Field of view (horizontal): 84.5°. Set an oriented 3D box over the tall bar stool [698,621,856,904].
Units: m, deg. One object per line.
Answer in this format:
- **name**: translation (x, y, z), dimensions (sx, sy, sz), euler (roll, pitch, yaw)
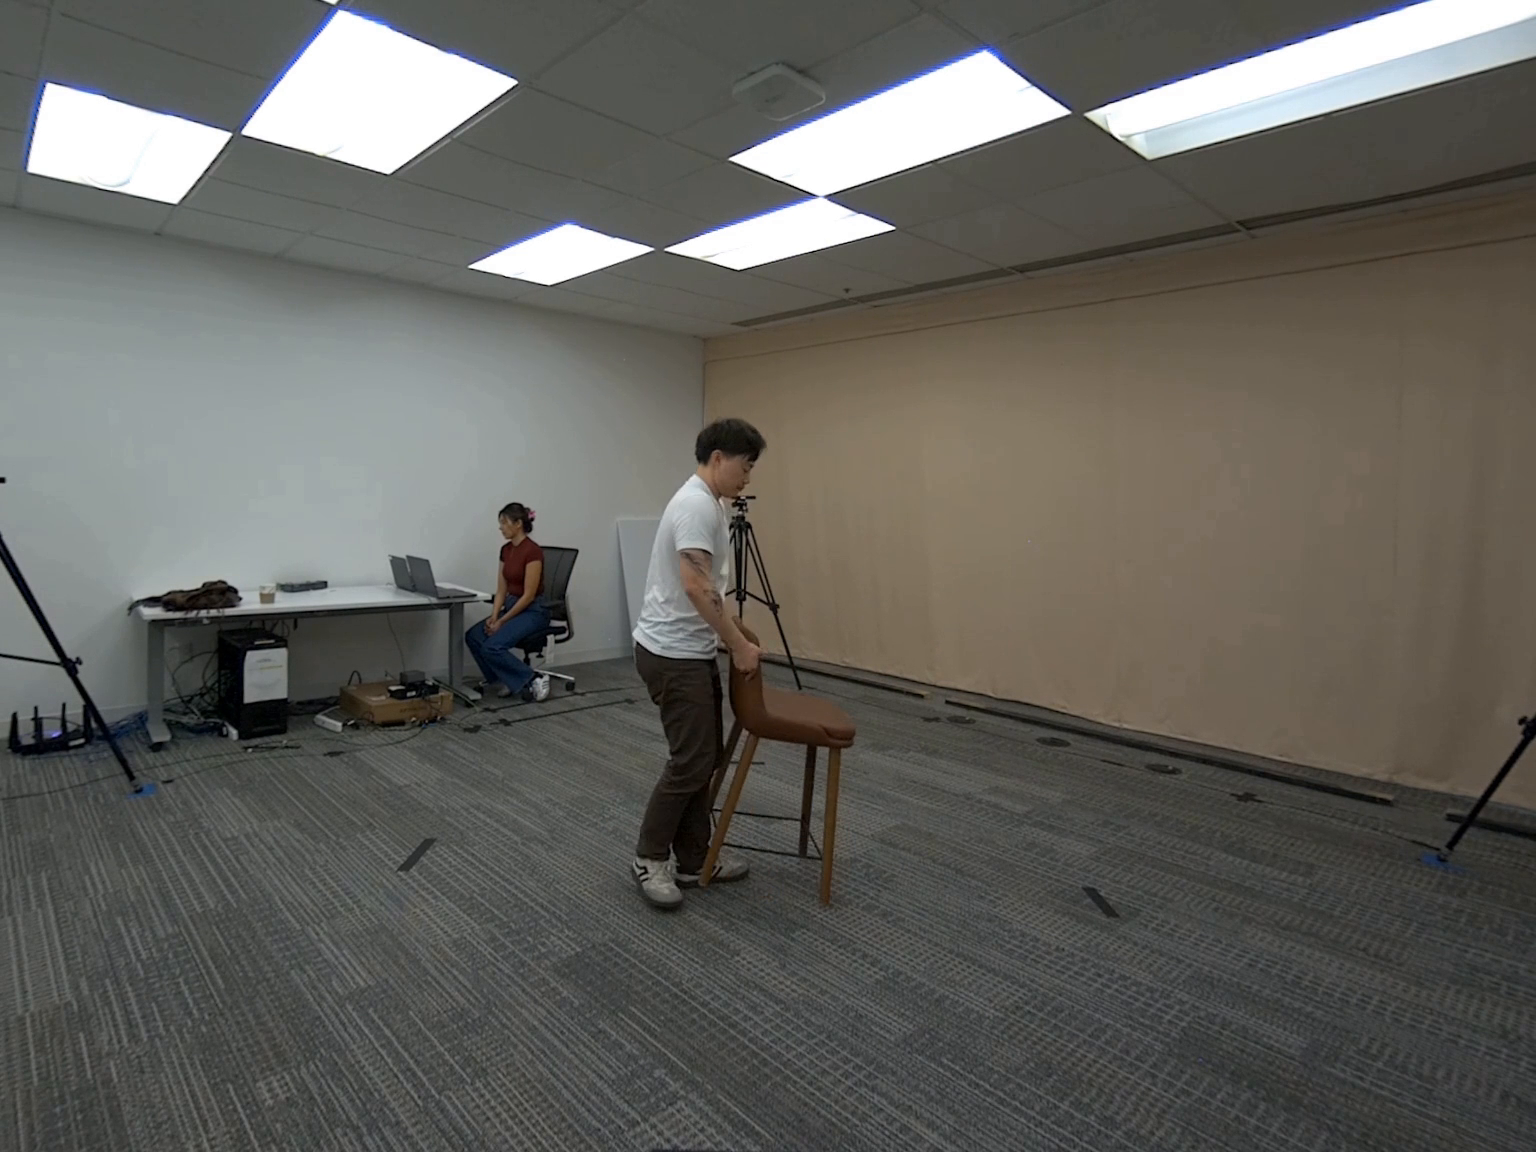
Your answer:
- **tall bar stool**: translation (0.027, 0.631, 3.007), dimensions (0.464, 0.888, 0.461), euler (8, 3, -10)
